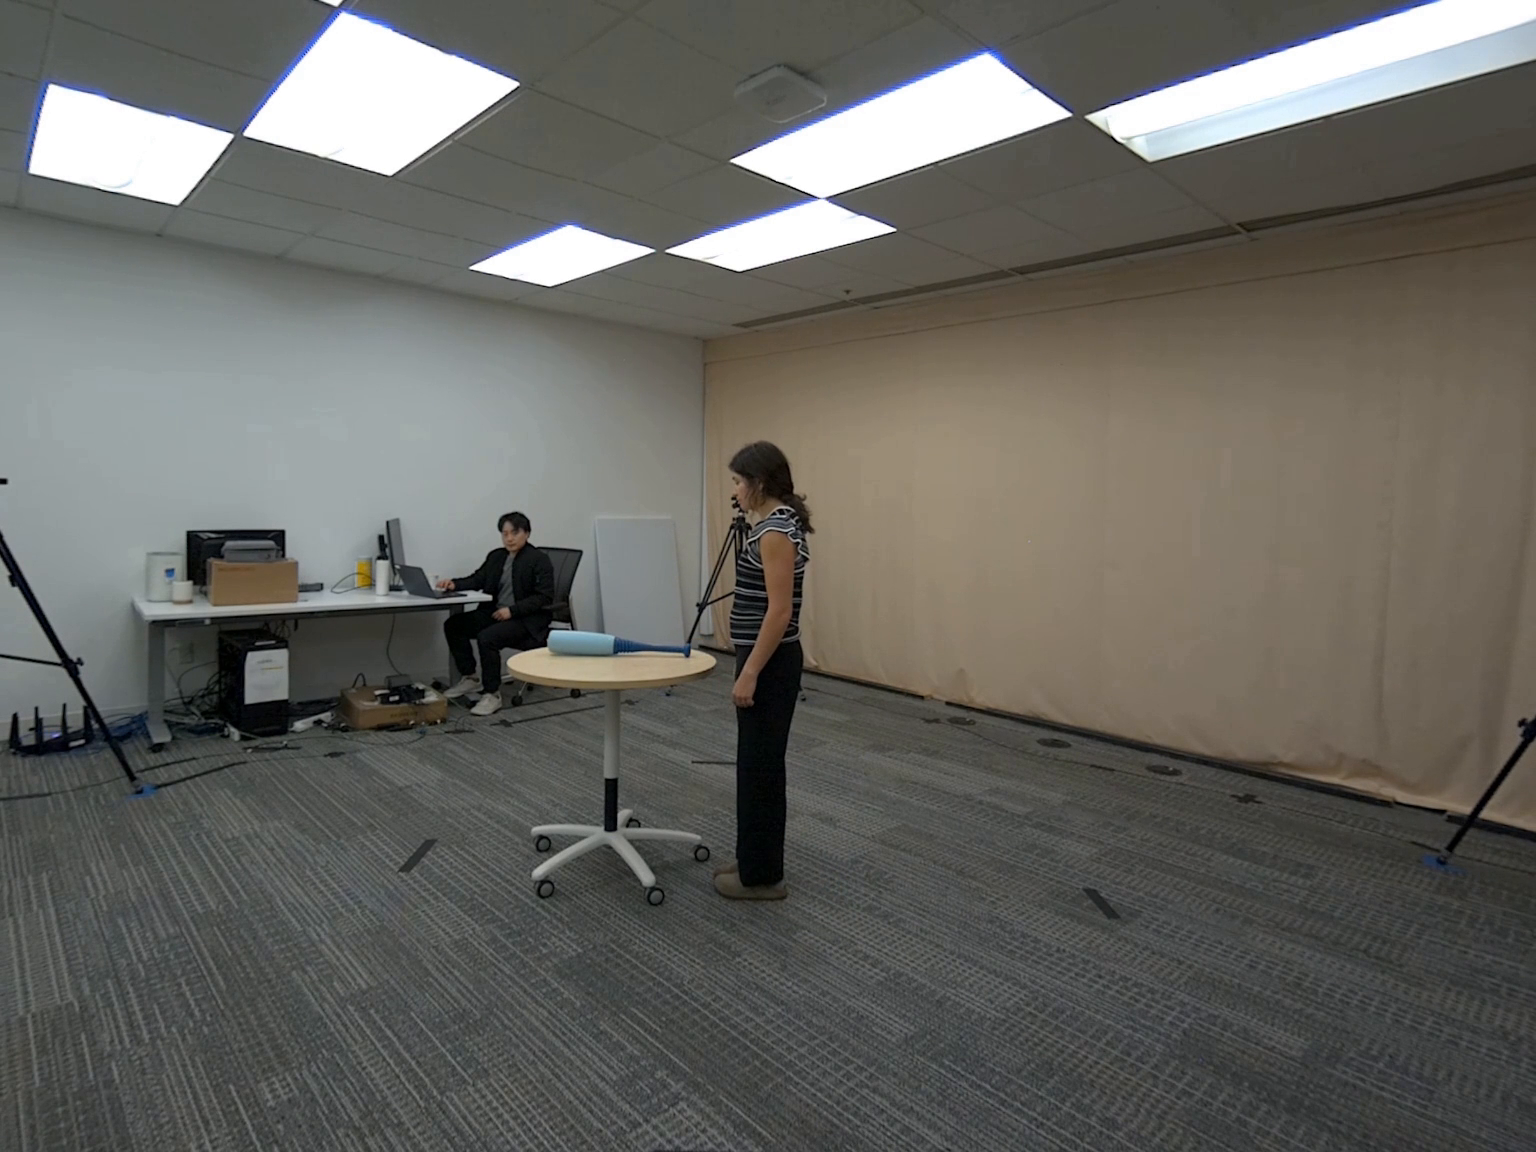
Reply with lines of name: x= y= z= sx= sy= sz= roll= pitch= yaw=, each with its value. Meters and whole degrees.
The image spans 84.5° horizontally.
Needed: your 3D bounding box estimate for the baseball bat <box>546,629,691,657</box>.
baseball bat: x=-0.566 y=0.268 z=3.208 sx=0.542 sy=0.089 sz=0.089 roll=4 pitch=4 yaw=-2
